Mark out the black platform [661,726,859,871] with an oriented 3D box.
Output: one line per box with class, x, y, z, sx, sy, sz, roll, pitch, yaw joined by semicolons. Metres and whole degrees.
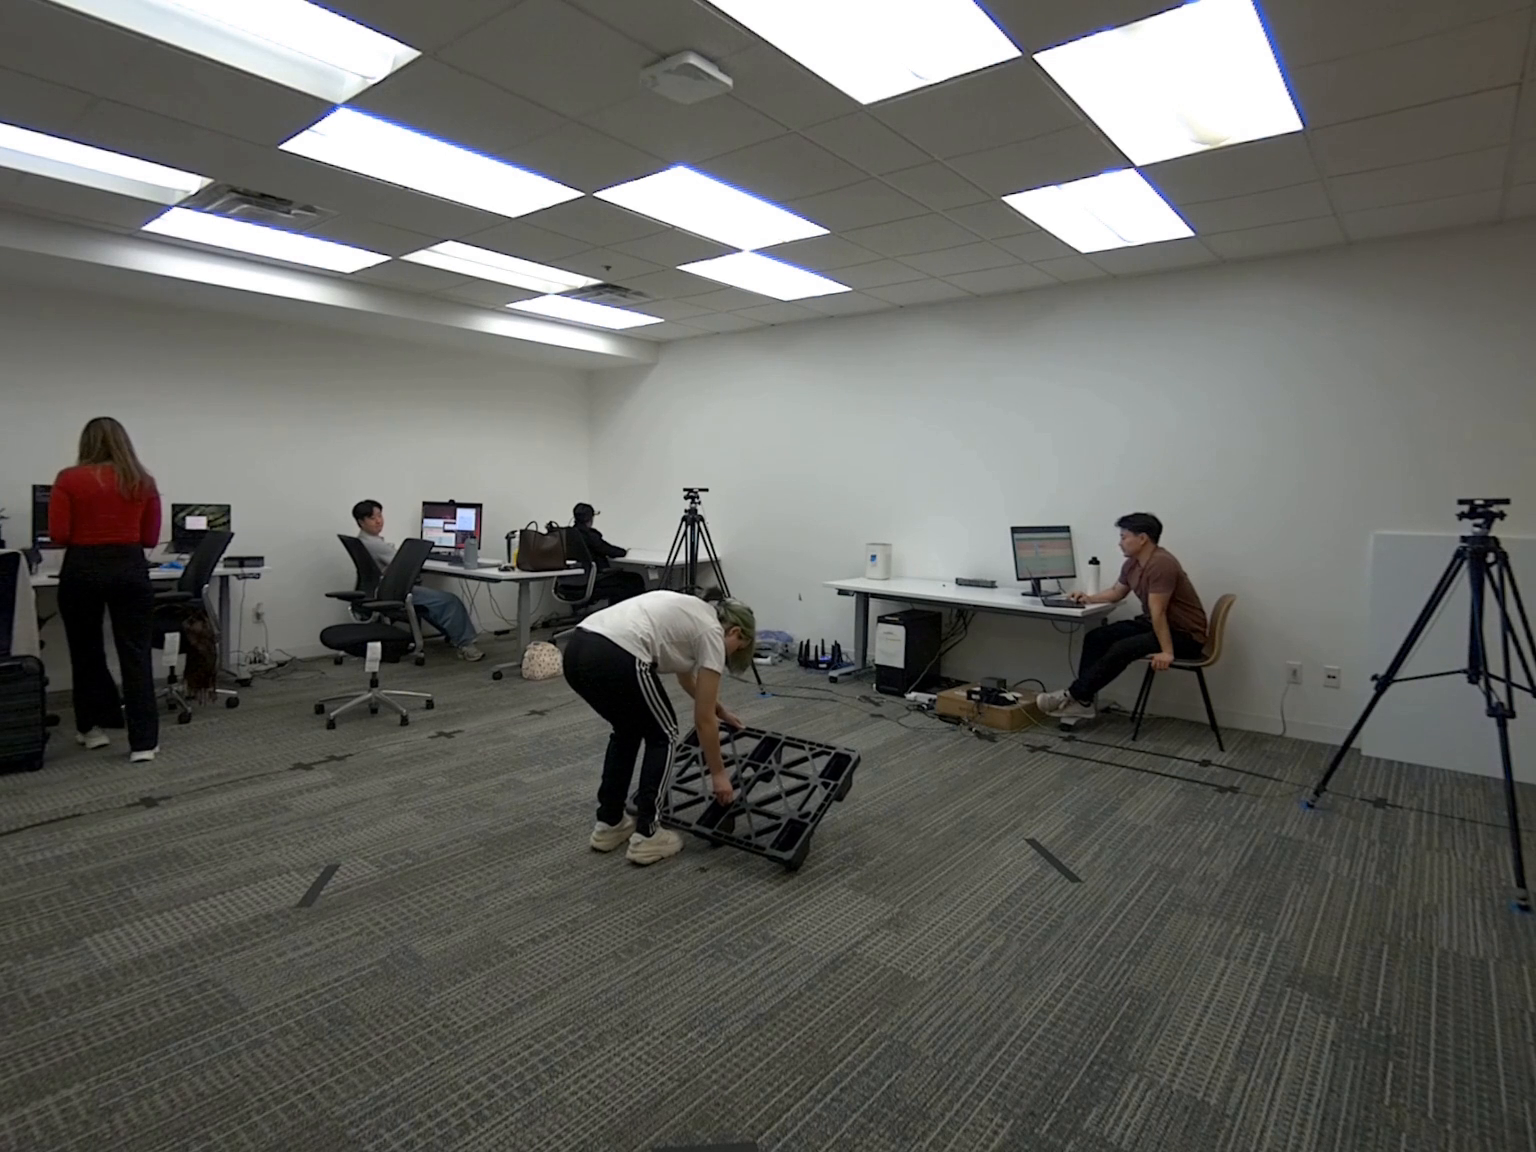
black platform;-0.100;0.879;3.462;0.832;0.139;0.602;5;33;35
